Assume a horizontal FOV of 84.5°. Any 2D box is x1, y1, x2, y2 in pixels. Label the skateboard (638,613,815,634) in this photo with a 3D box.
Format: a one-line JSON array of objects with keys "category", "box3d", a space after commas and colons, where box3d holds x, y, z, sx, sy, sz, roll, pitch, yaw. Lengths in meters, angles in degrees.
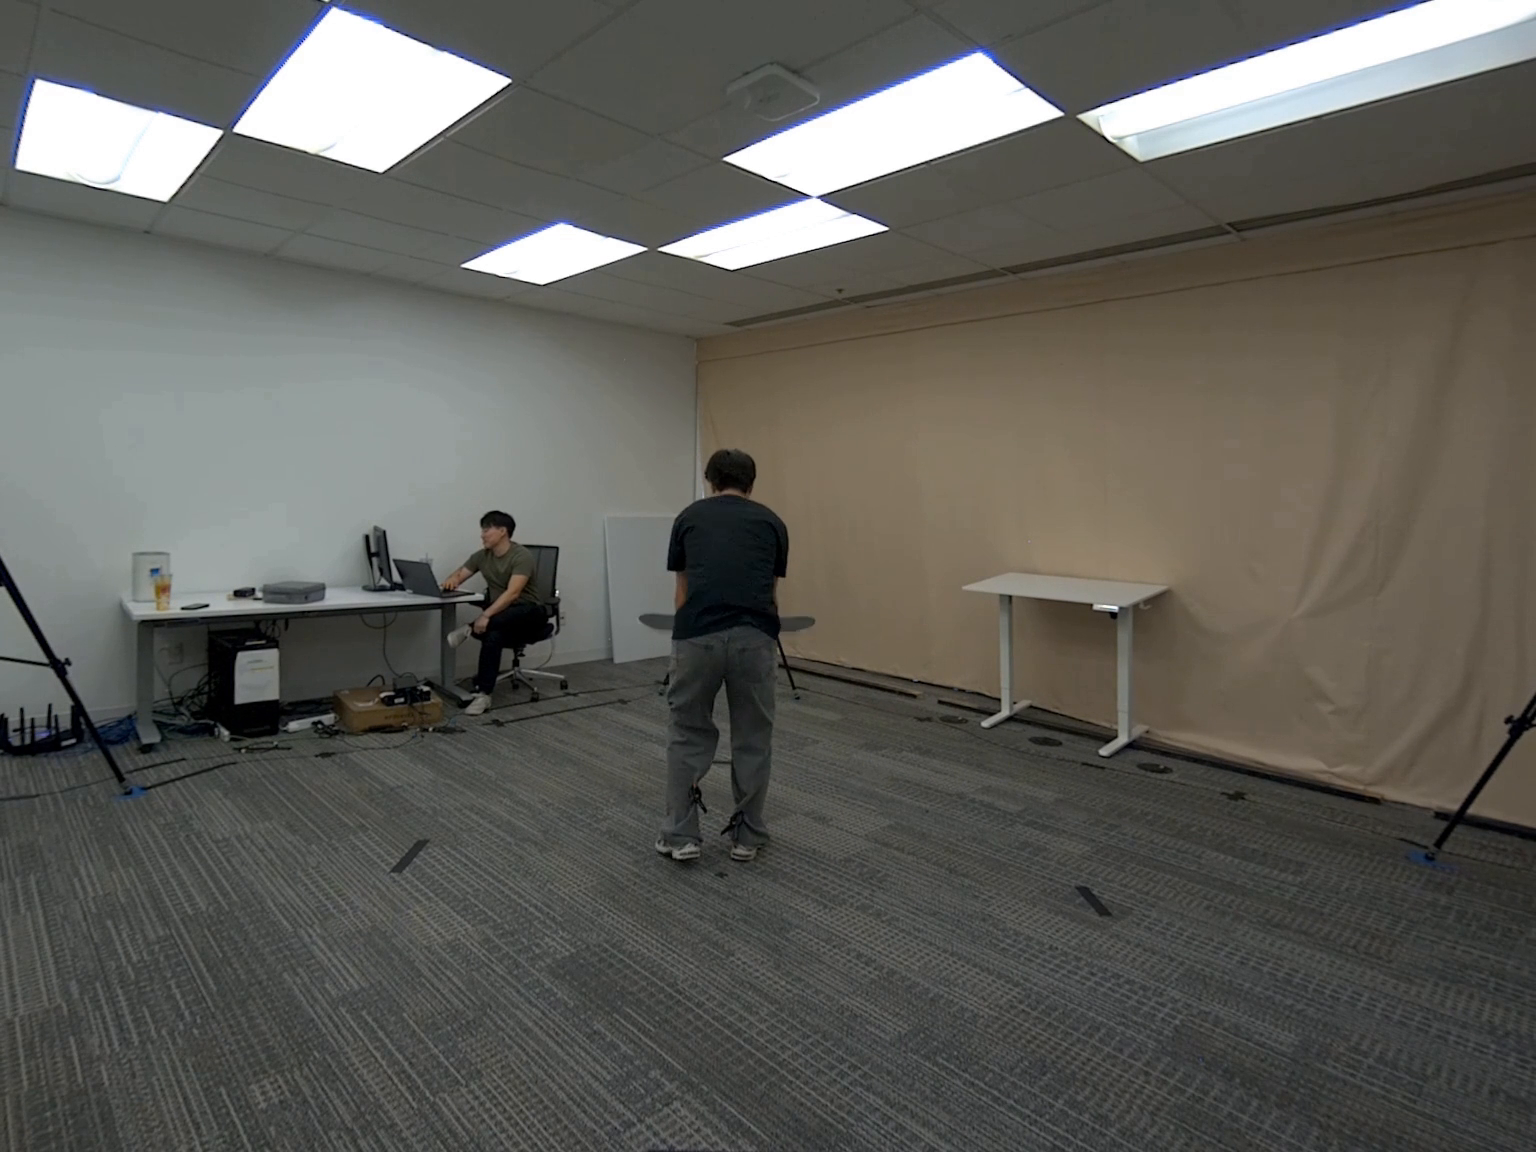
[{"category": "skateboard", "box3d": [-0.184, 0.255, 3.733, 0.785, 0.109, 0.195, 1, 16, 0]}]
